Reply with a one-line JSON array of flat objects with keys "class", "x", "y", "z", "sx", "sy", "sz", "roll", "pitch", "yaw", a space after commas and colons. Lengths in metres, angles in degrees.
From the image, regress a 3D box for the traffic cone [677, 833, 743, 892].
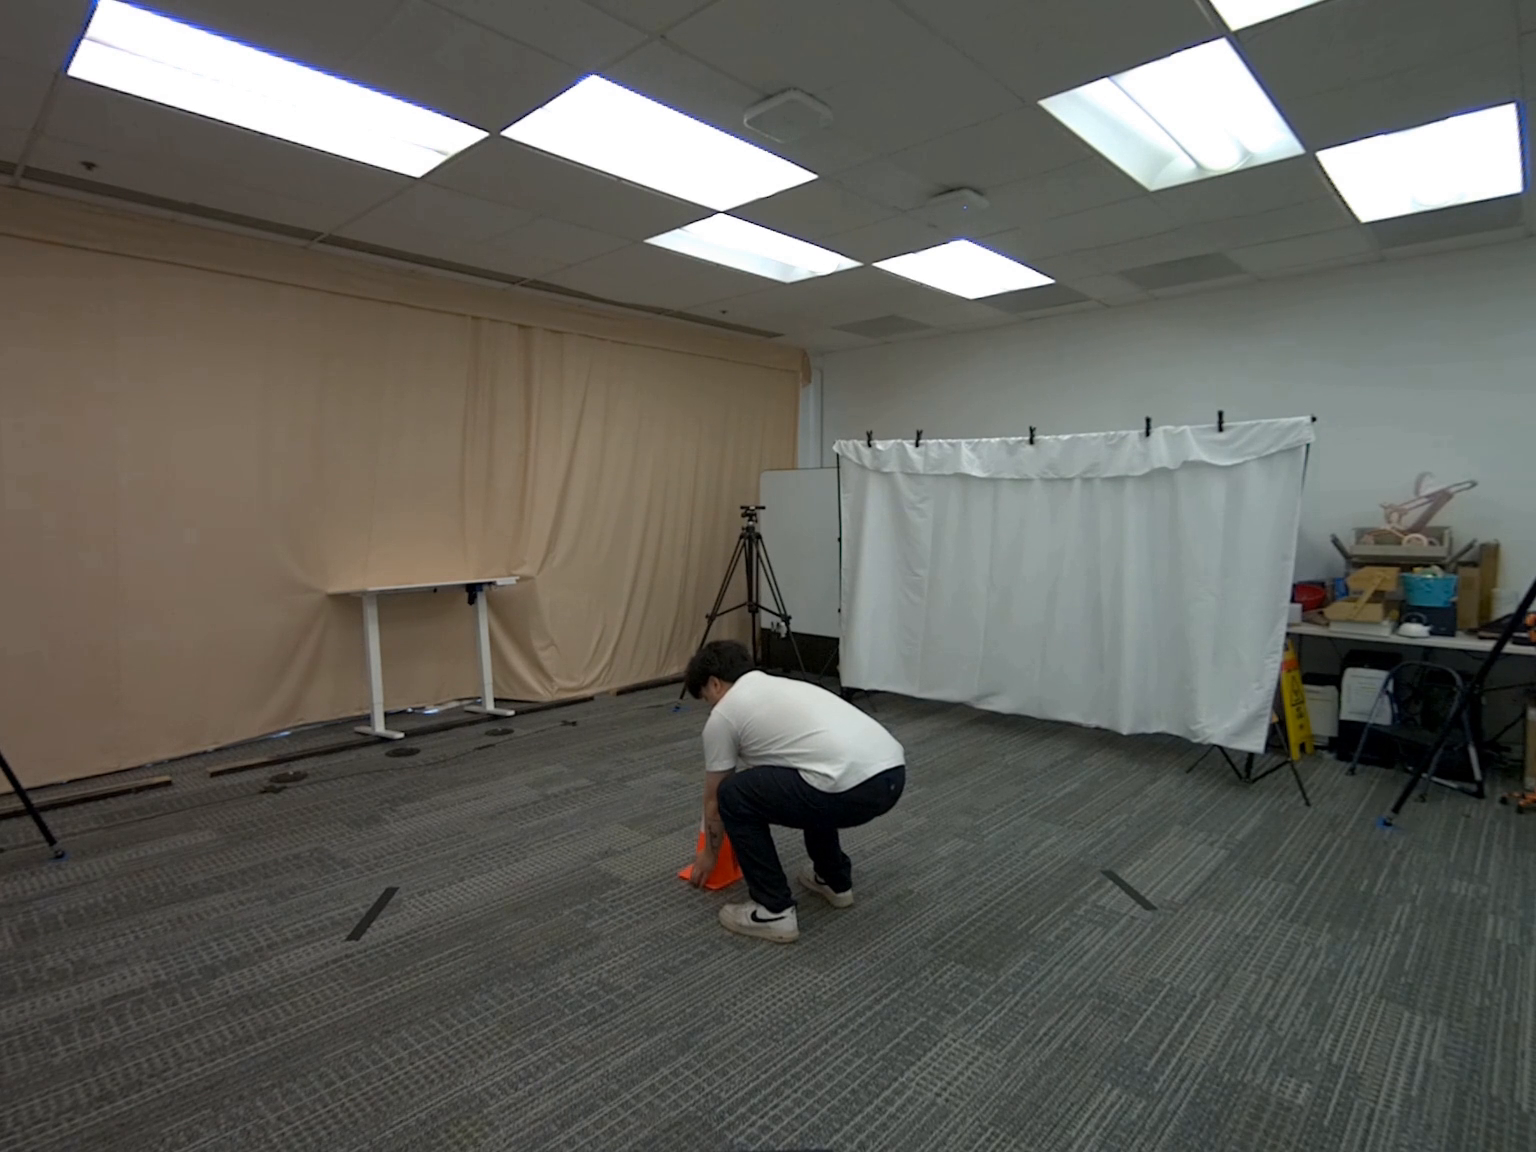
[{"class": "traffic cone", "x": -0.197, "y": 0.940, "z": 3.152, "sx": 0.199, "sy": 0.382, "sz": 0.210, "roll": -7, "pitch": 10, "yaw": -45}]
